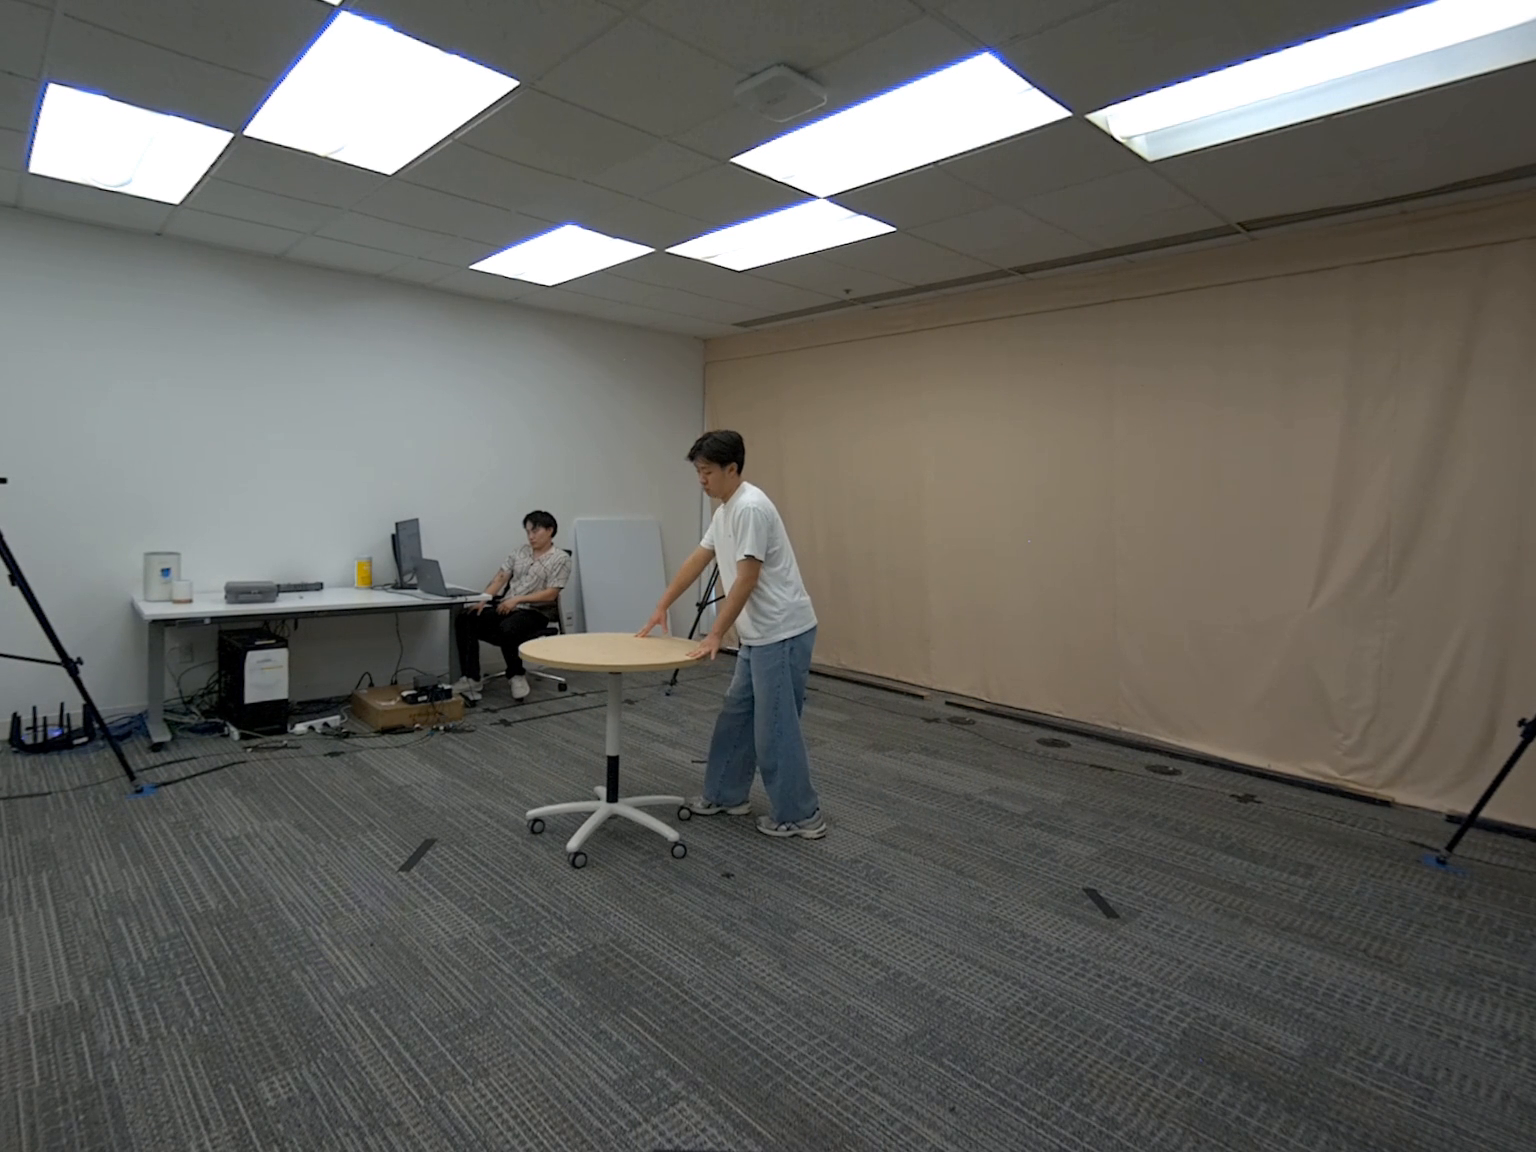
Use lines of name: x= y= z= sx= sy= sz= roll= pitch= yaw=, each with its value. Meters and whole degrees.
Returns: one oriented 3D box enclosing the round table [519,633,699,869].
round table: x=-0.632 y=0.678 z=3.430 sx=0.763 sy=0.792 sz=0.766 roll=1 pitch=4 yaw=-1
